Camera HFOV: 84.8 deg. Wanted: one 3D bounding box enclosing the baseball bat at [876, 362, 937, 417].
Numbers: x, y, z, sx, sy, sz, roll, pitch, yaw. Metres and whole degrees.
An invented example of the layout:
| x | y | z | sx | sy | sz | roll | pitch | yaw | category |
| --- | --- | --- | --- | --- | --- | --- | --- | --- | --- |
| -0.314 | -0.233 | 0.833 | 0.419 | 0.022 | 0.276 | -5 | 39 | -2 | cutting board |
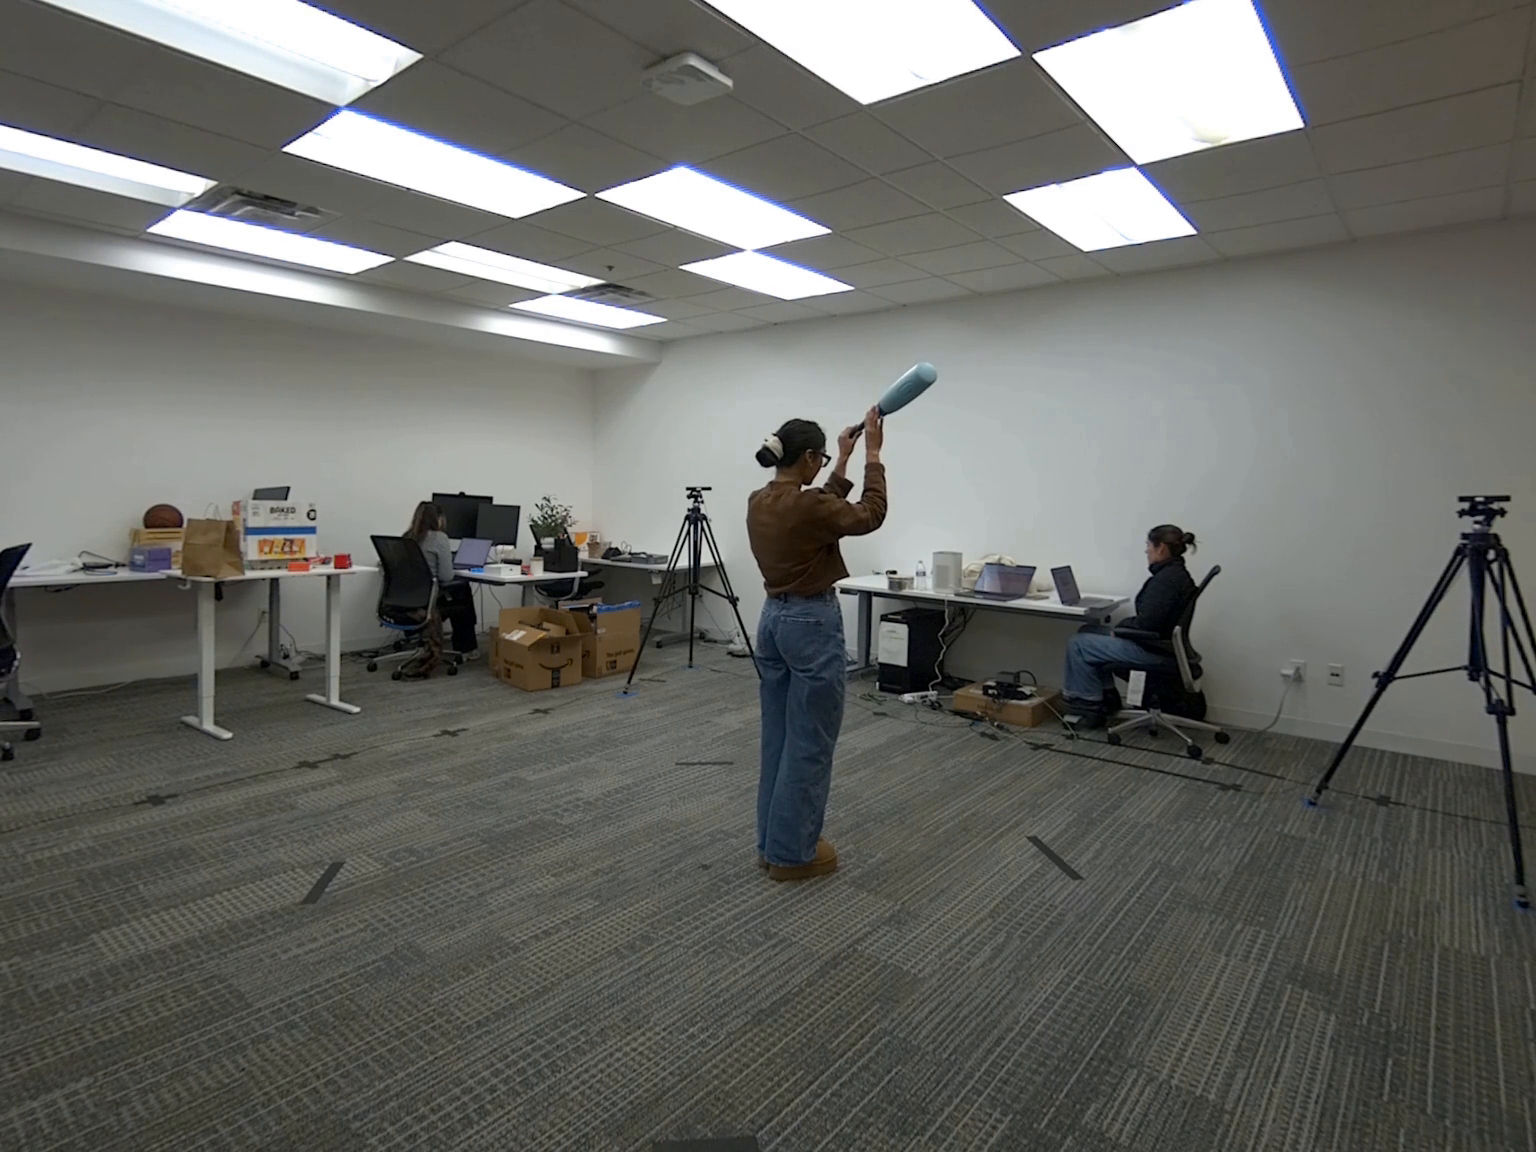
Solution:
| x | y | z | sx | sy | sz | roll | pitch | yaw | category |
| --- | --- | --- | --- | --- | --- | --- | --- | --- | --- |
| 0.407 | -0.614 | 3.082 | 0.087 | 0.090 | 0.547 | -1 | -15 | -27 | baseball bat |
